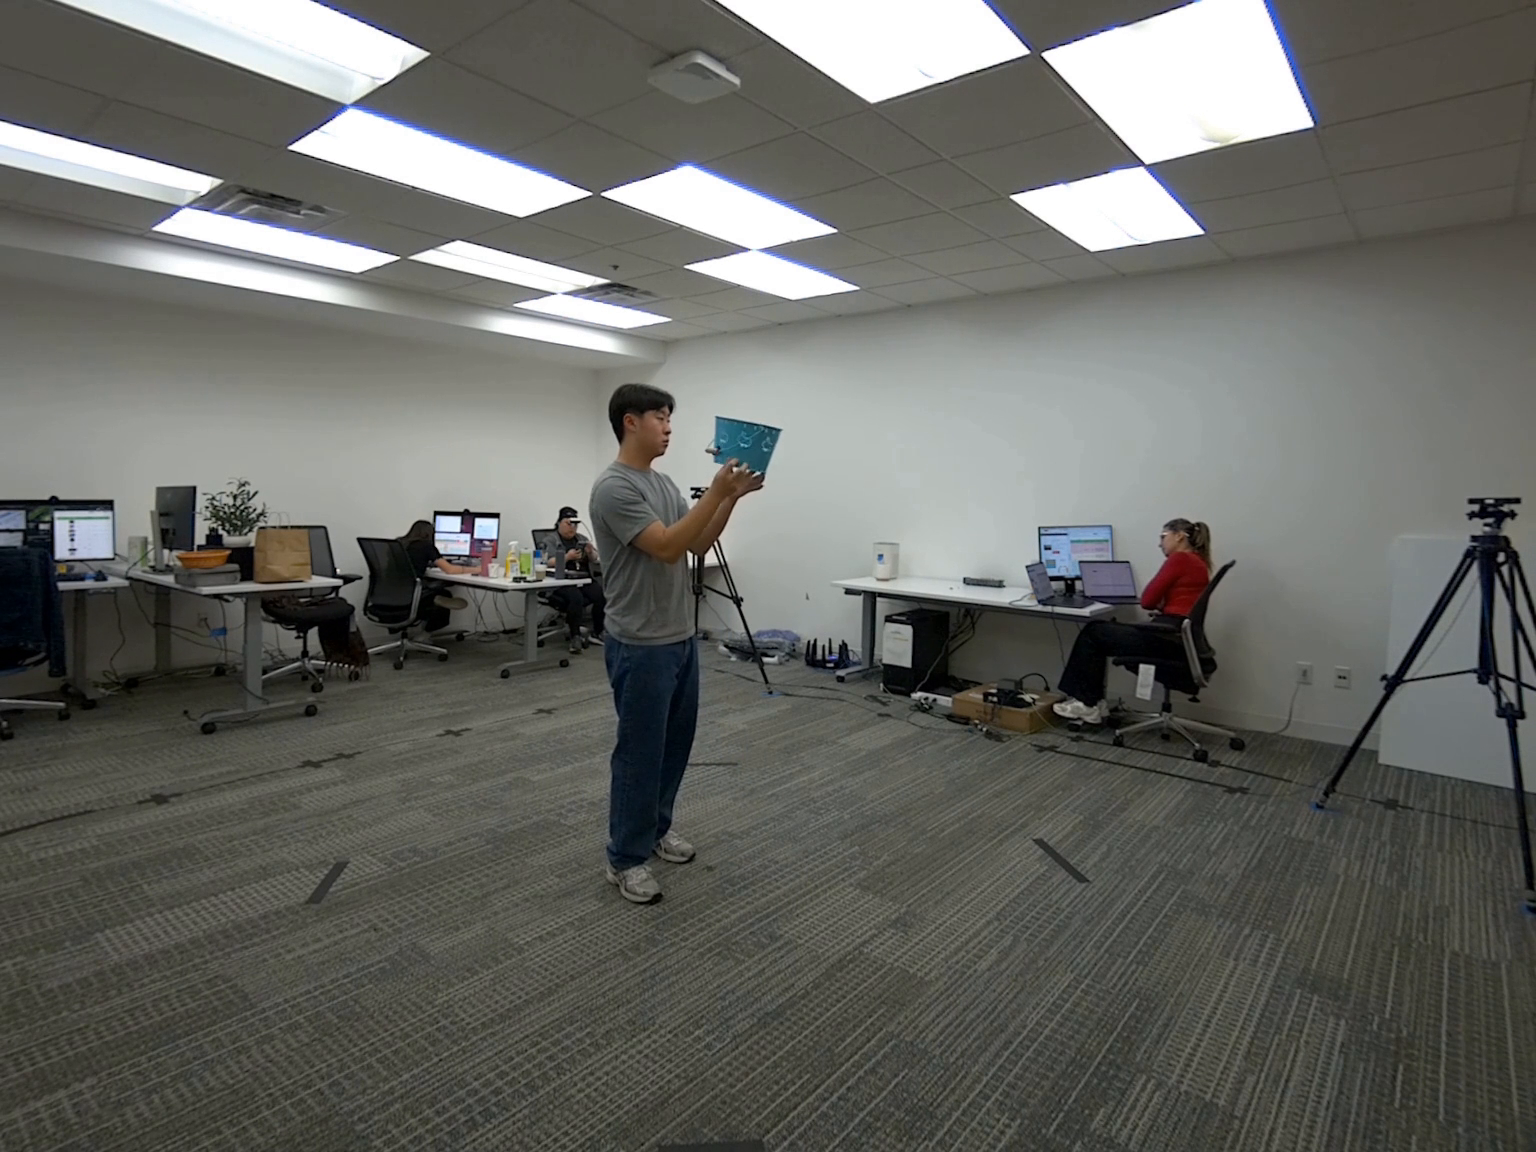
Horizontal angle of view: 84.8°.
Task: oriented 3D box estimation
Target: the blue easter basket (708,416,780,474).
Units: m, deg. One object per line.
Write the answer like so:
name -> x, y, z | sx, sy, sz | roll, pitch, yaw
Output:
blue easter basket -> -0.097, -0.443, 2.828 | 0.243, 0.155, 0.246 | 11, 9, -4
